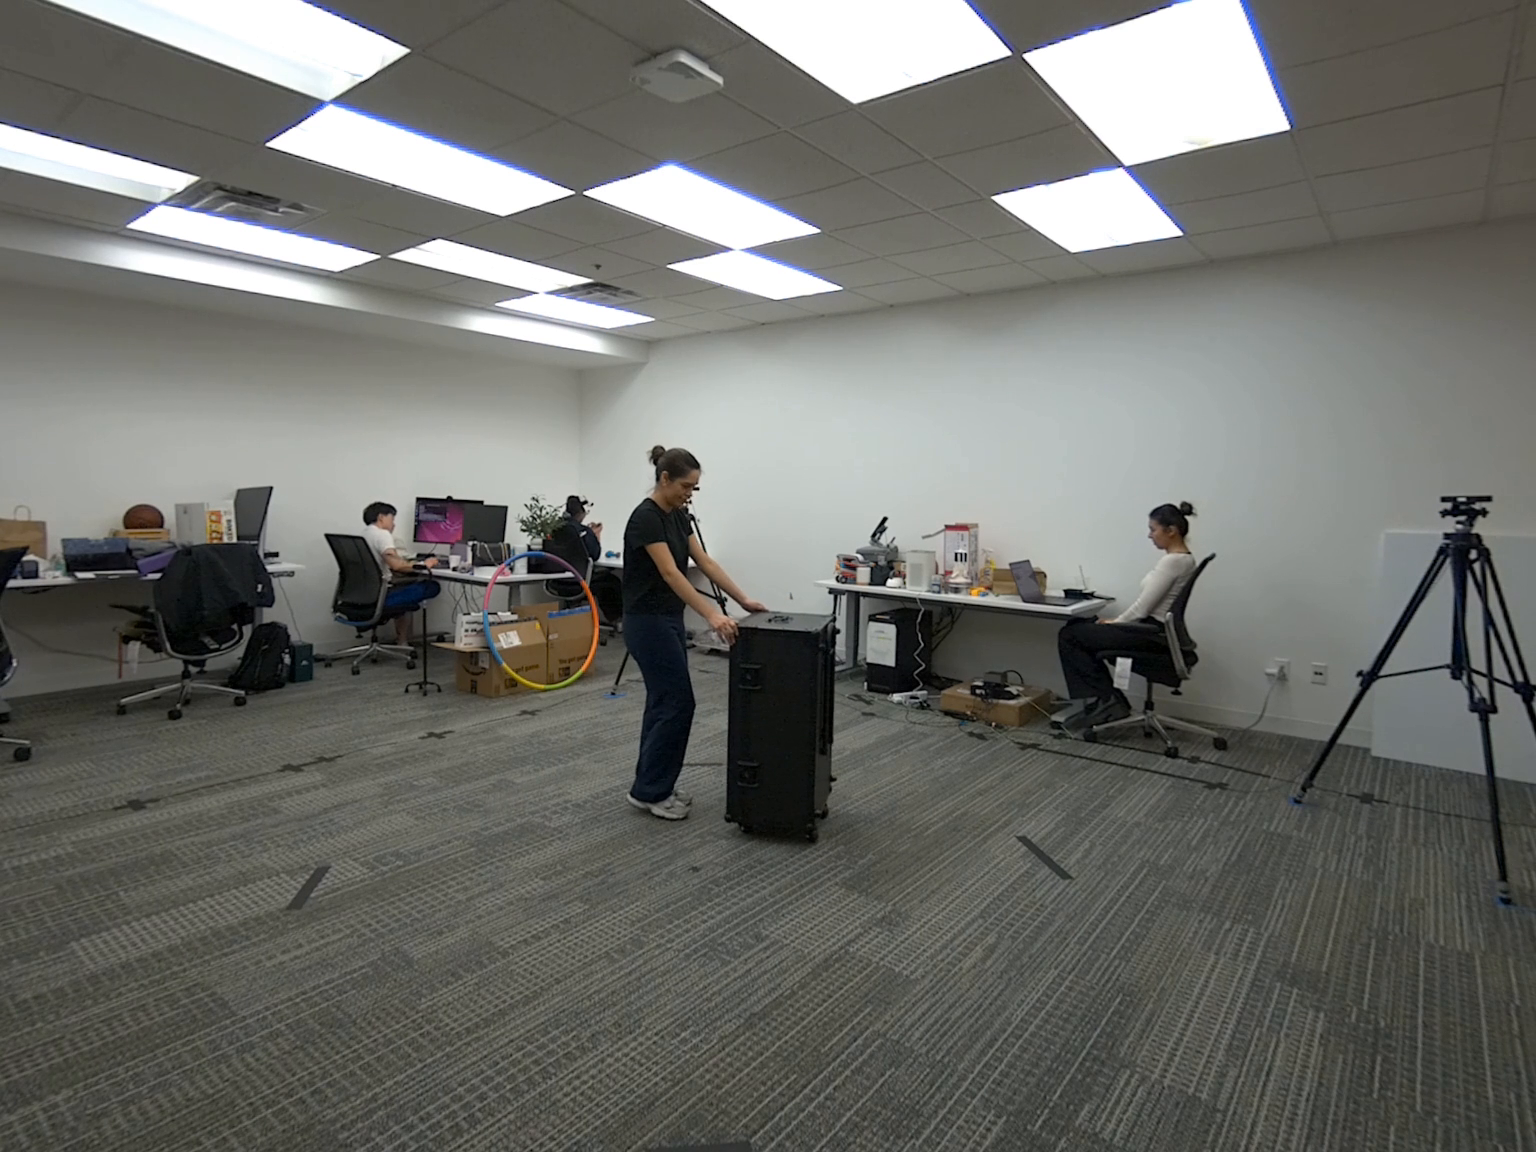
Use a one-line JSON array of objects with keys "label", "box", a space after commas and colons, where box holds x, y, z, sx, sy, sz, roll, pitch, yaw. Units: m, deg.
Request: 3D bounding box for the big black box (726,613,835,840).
[{"label": "big black box", "box": [0.099, 0.601, 3.540, 0.403, 0.859, 0.514, 3, 4, 15]}]
